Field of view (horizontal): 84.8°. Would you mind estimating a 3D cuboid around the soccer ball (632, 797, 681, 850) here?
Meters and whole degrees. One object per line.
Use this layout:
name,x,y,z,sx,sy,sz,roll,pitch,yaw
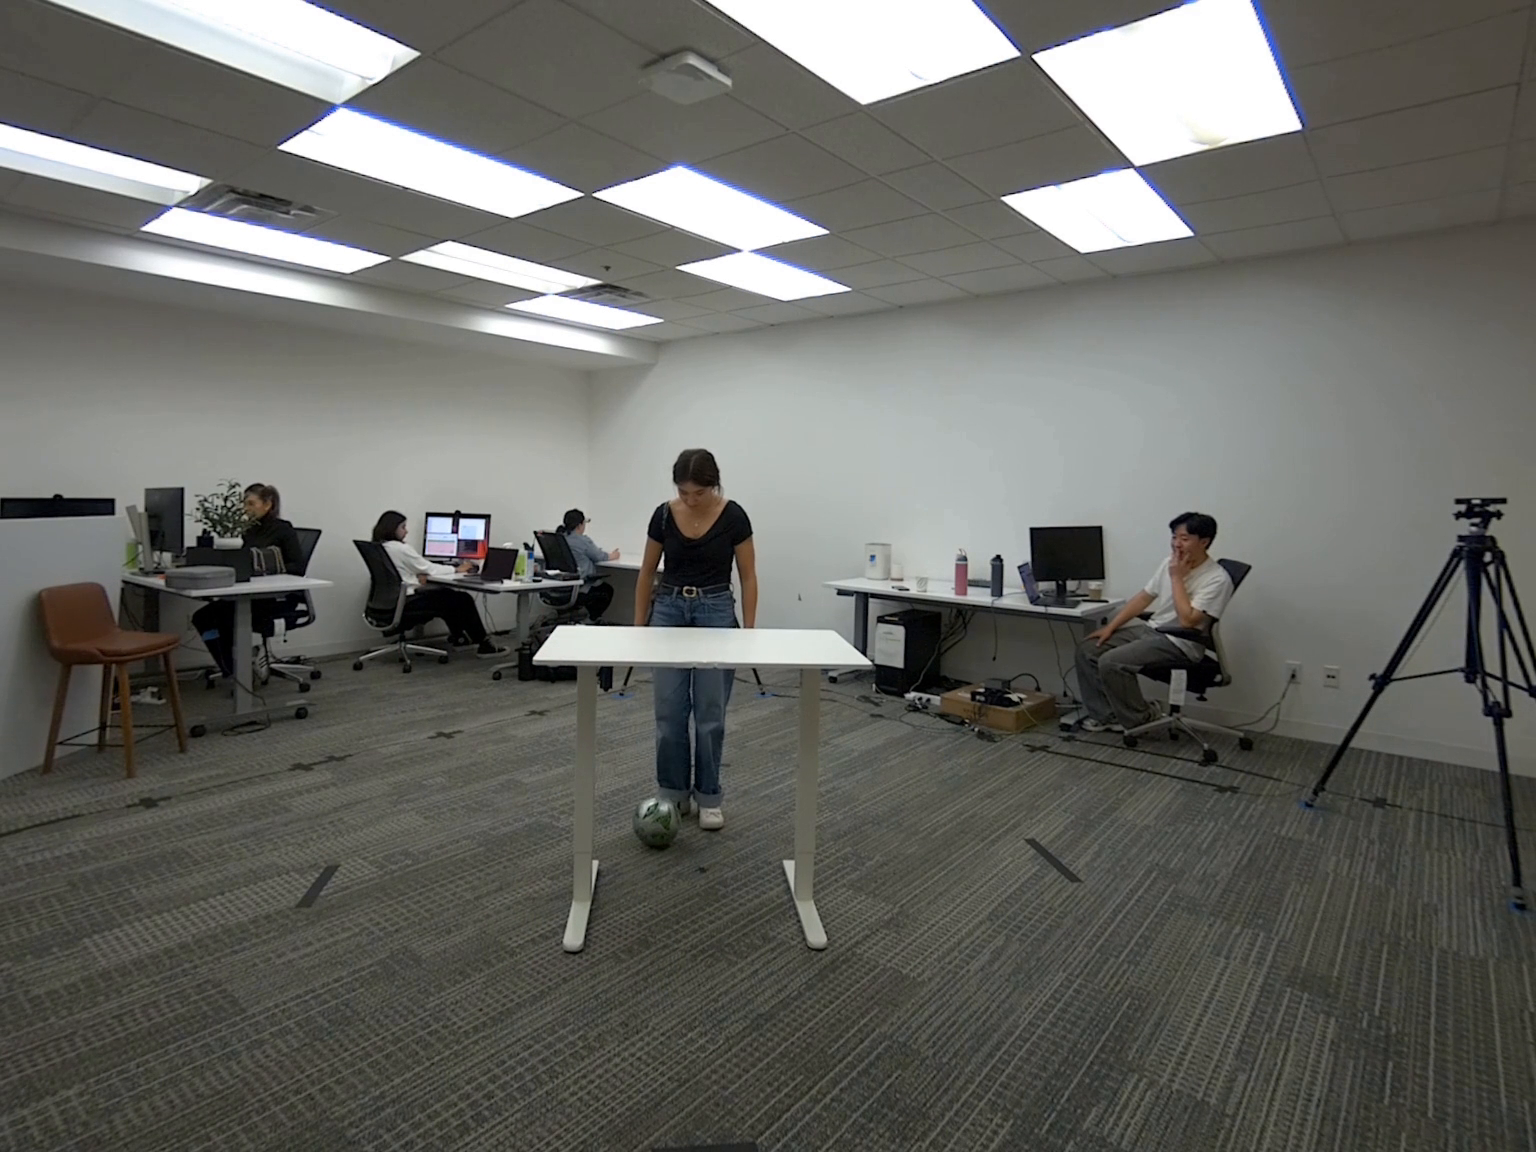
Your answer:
soccer ball,-0.440,0.952,3.323,0.187,0.187,0.188,1,4,-2
